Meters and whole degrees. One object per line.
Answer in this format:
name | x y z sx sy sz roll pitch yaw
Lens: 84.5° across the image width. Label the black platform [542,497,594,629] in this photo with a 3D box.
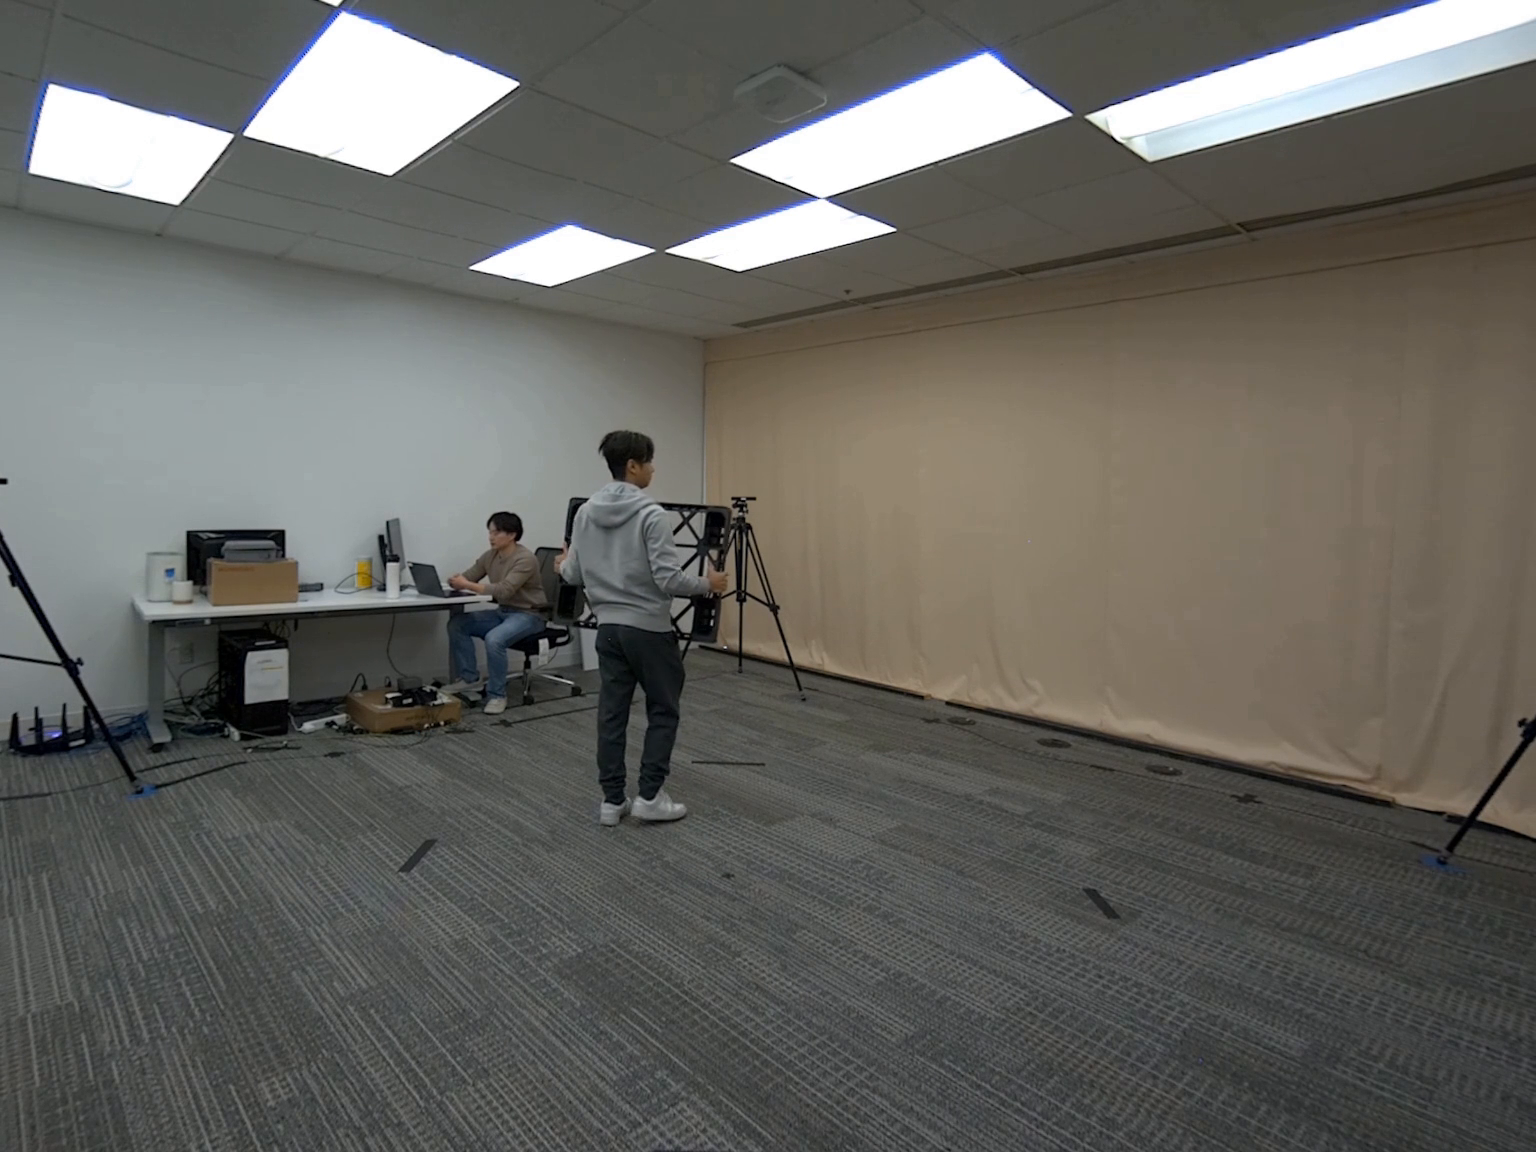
black platform | -0.565 -0.028 3.820 0.818 0.607 0.140 5 -5 19
